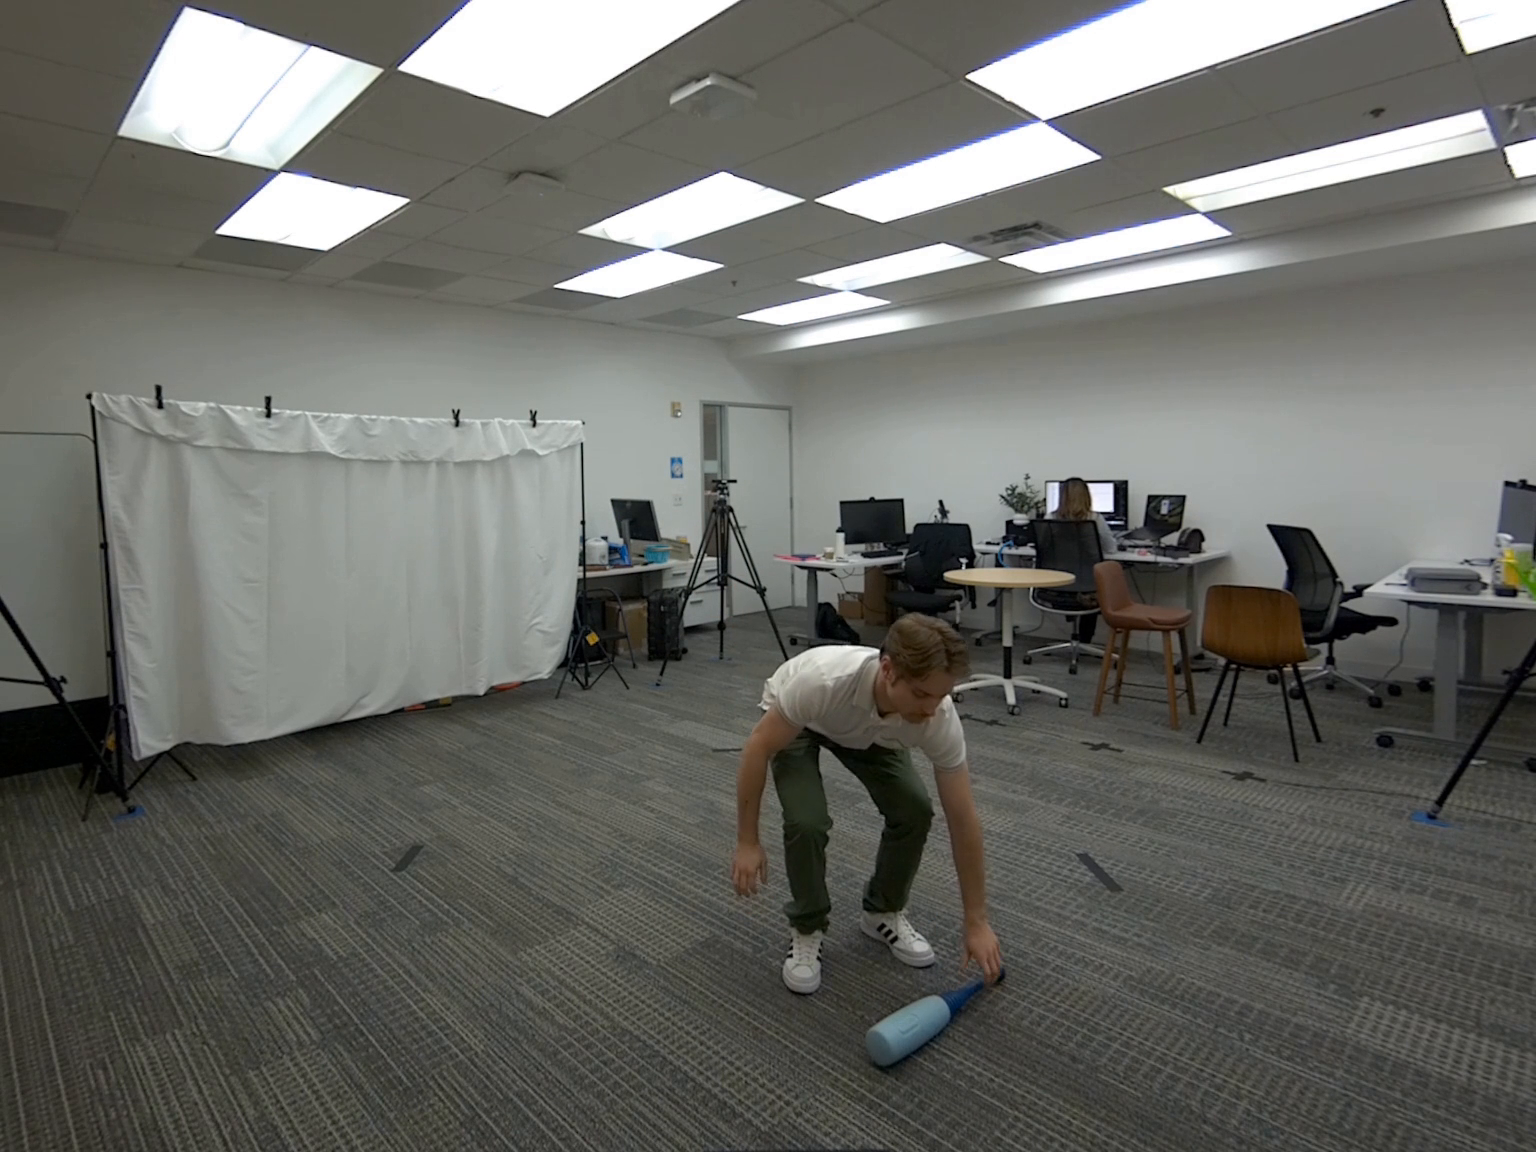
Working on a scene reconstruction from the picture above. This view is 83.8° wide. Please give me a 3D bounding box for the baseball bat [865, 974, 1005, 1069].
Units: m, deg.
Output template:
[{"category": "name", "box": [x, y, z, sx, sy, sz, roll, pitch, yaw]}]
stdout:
[{"category": "baseball bat", "box": [0.457, 1.110, 2.187, 0.528, 0.089, 0.092, -4, 6, -43]}]
